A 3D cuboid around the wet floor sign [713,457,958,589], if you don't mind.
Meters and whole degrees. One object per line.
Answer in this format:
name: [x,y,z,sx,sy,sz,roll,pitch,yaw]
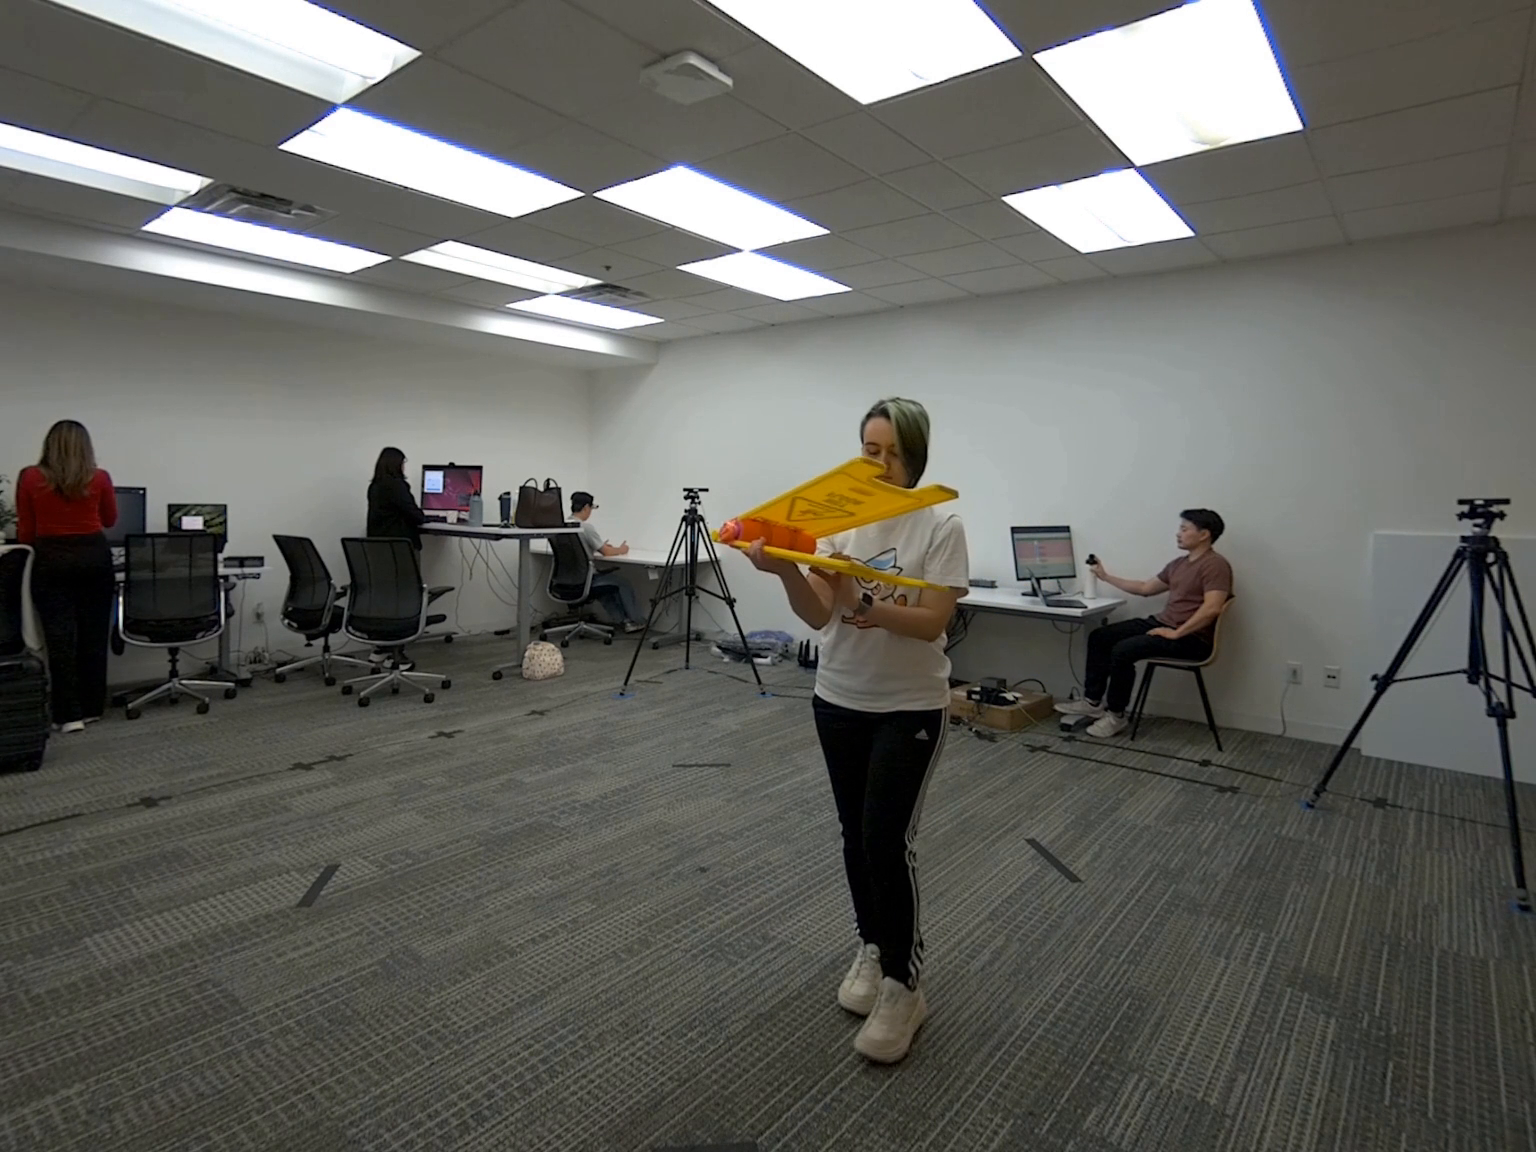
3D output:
wet floor sign: [0.090,-0.084,2.005,0.273,0.291,0.665,14,-7,-33]
